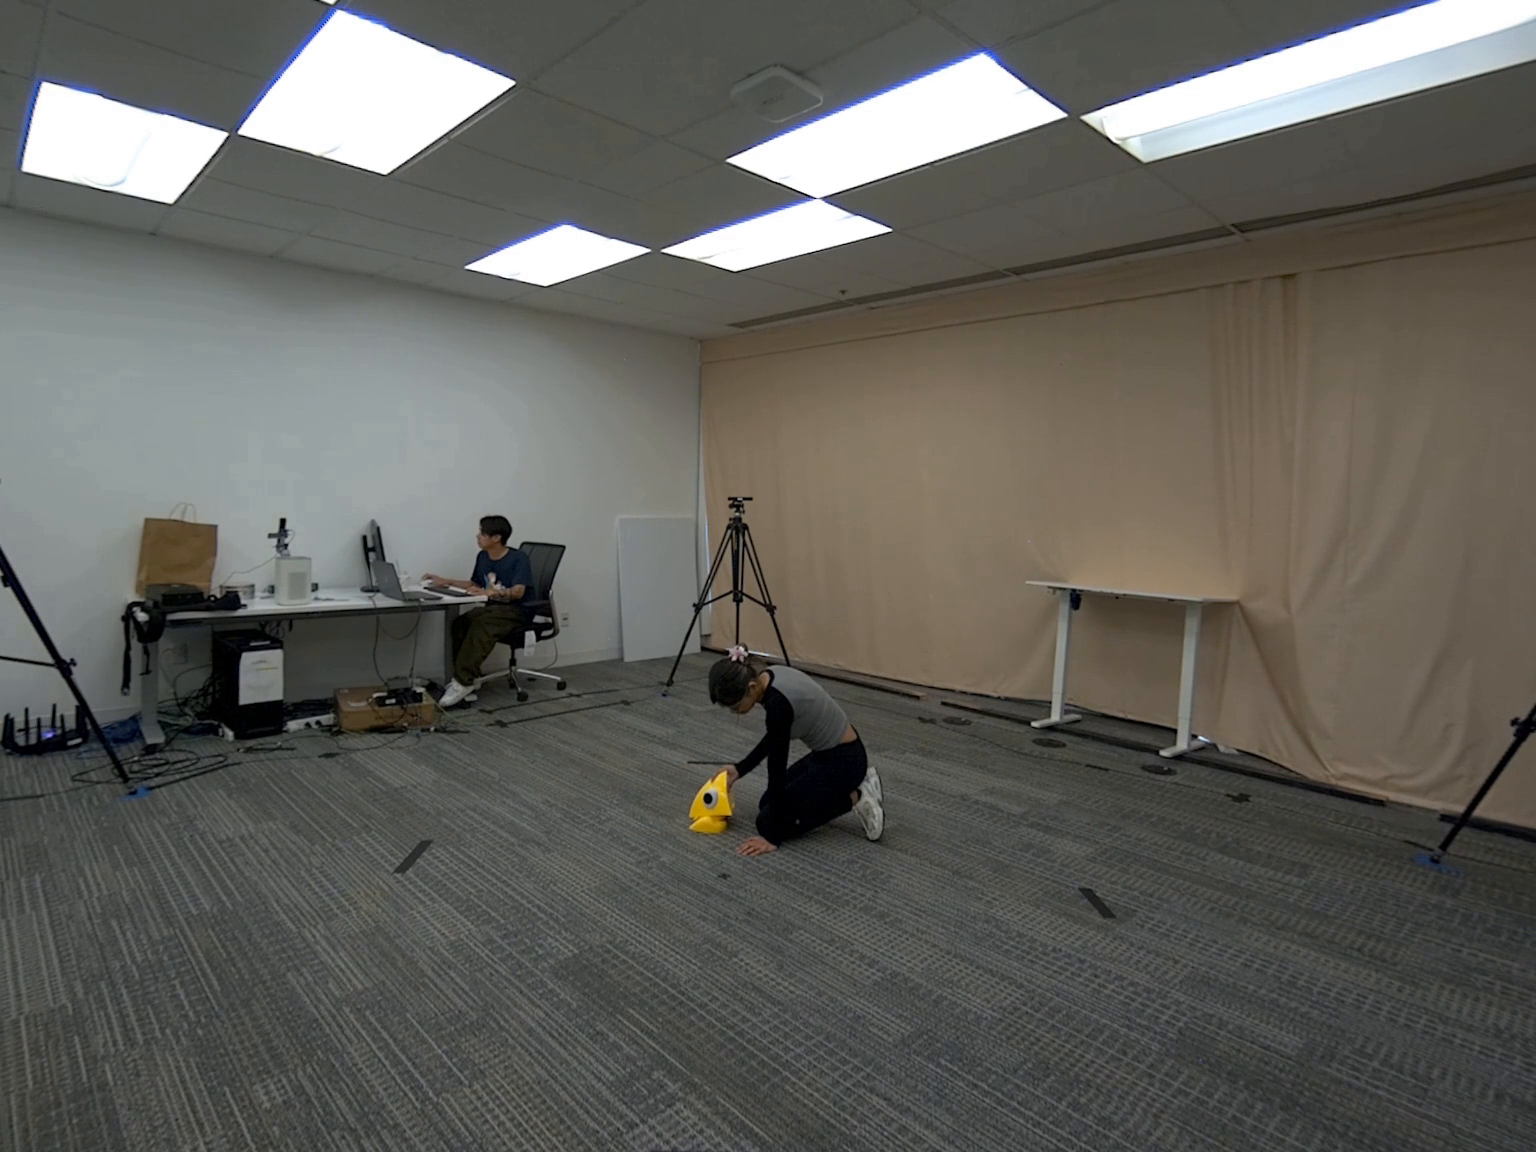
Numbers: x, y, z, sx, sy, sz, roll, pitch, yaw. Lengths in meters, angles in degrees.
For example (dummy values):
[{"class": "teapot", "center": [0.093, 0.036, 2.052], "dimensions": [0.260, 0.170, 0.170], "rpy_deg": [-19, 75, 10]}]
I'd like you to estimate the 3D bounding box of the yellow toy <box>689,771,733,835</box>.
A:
[{"class": "yellow toy", "center": [-0.247, 0.943, 3.602], "dimensions": [0.193, 0.230, 0.205], "rpy_deg": [2, 4, 1]}]
